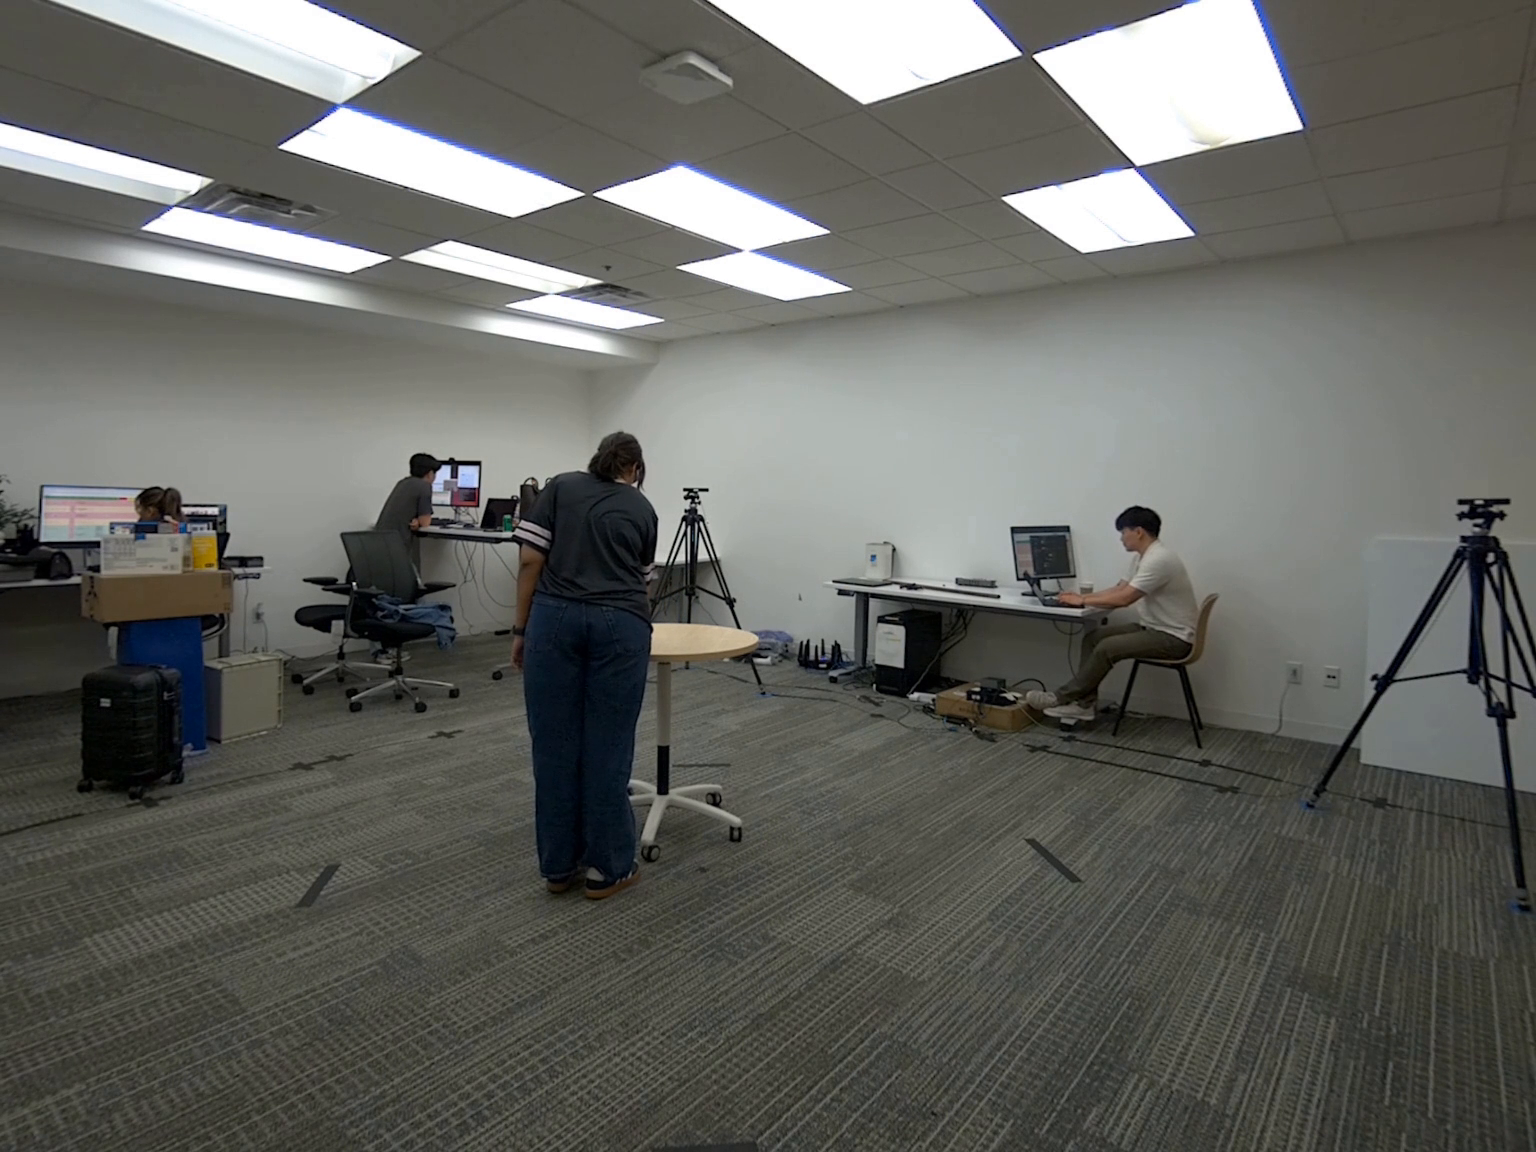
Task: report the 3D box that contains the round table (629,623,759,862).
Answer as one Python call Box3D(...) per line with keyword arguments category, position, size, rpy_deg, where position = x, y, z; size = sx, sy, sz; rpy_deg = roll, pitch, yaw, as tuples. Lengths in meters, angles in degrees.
Box3D(category="round table", position=(-0.450, 0.636, 3.482), size=(0.784, 0.784, 0.789), rpy_deg=(1, 4, -2))
